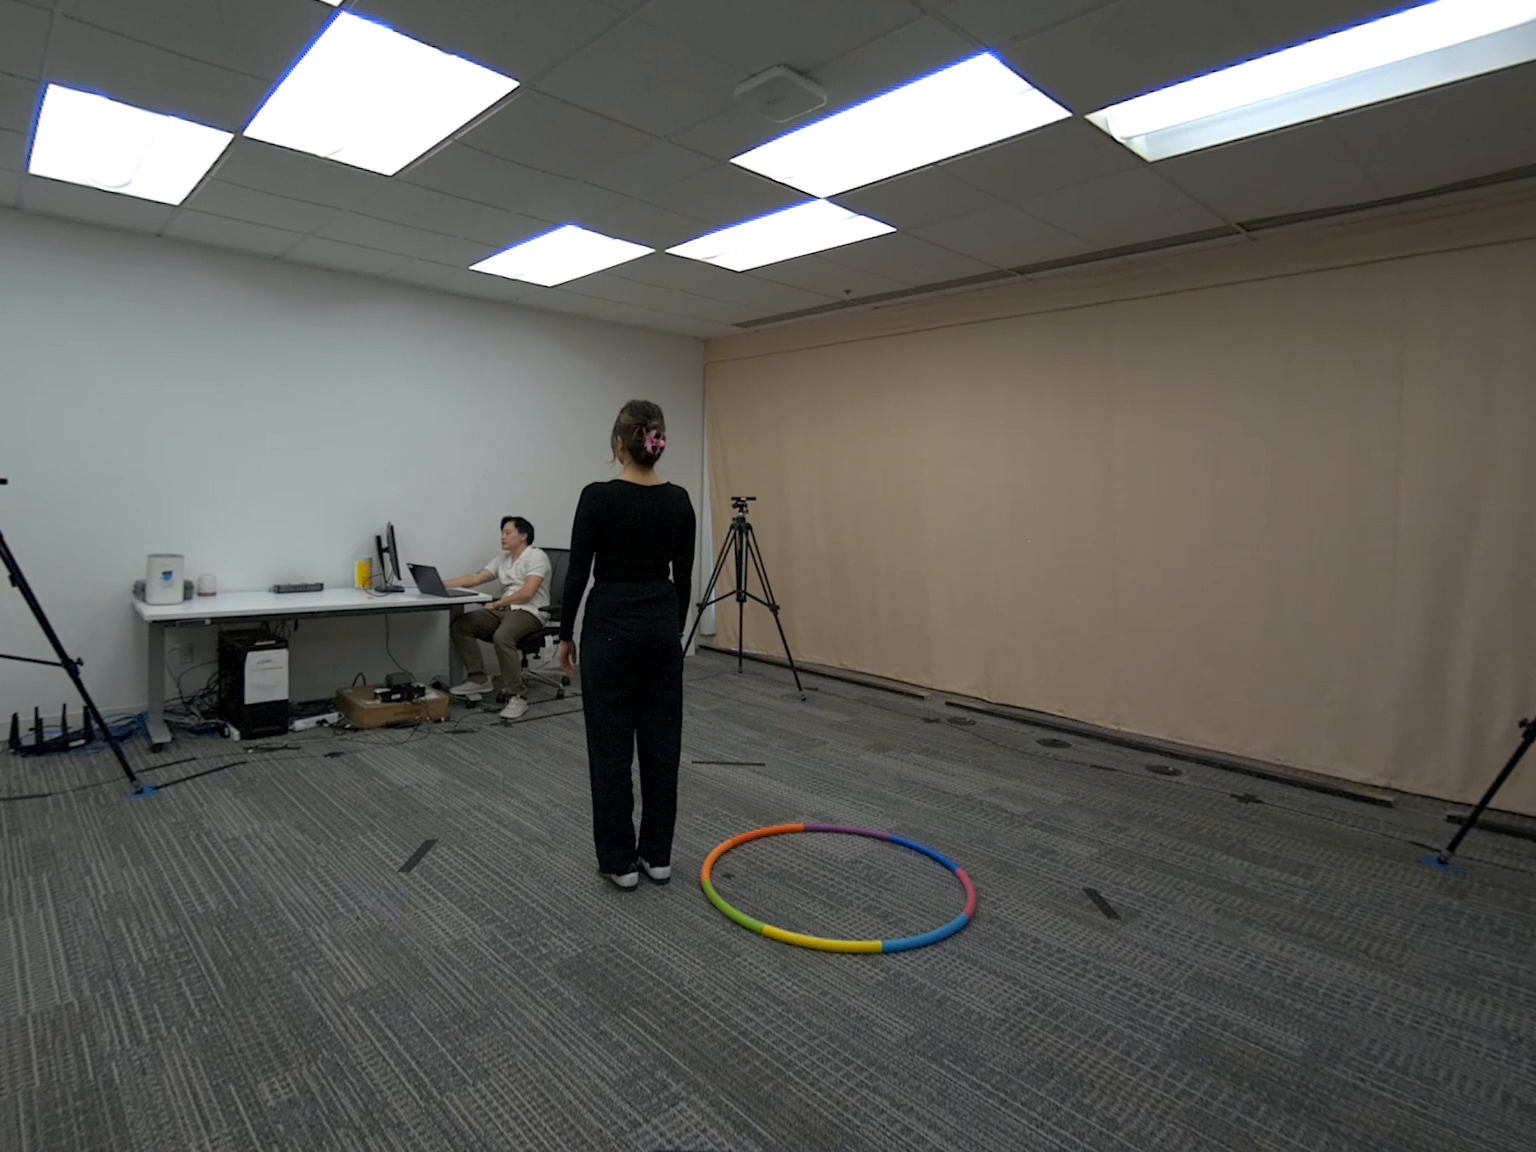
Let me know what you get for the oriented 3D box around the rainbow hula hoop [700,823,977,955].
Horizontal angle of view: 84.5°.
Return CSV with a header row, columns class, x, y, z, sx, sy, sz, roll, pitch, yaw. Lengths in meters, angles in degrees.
class,x,y,z,sx,sy,sz,roll,pitch,yaw
rainbow hula hoop,0.242,1.088,3.072,0.978,0.035,0.982,1,5,-1
